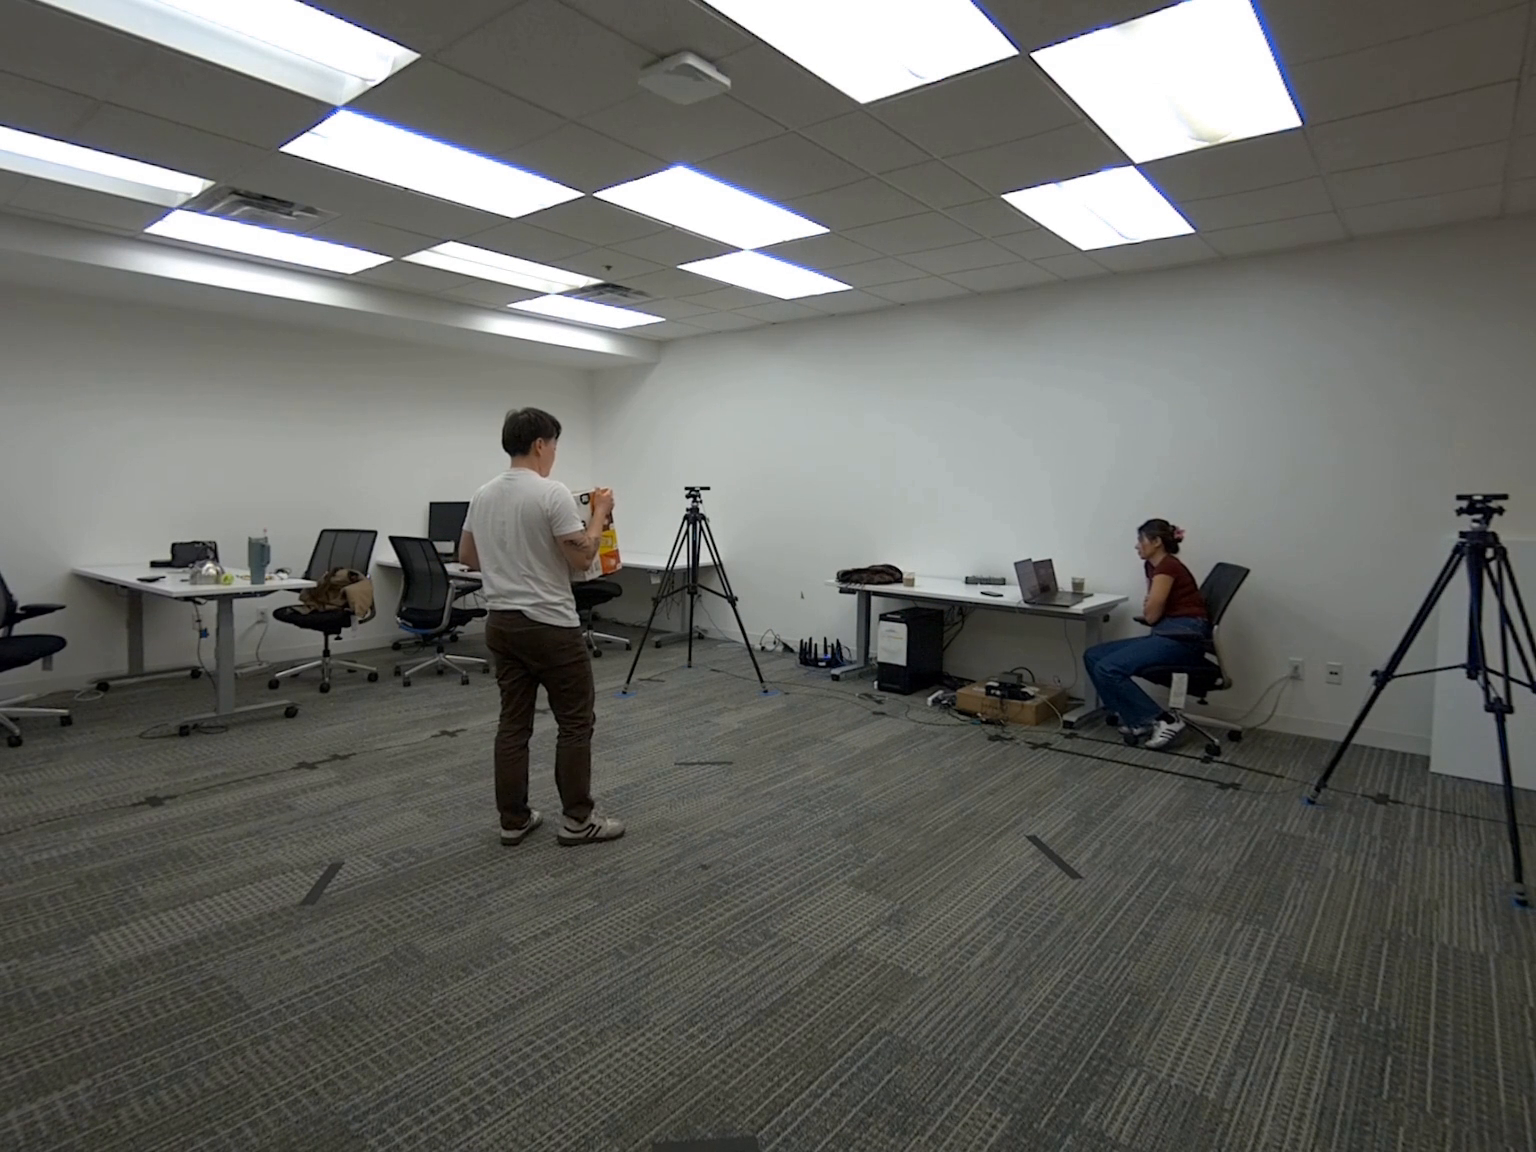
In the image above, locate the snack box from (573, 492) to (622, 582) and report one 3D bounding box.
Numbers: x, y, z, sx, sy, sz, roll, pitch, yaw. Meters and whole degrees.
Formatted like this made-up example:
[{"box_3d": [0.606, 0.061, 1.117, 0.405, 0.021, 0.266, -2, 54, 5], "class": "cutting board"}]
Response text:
[{"box_3d": [-0.849, -0.170, 3.503, 0.418, 0.337, 0.201, 0, 12, 37], "class": "snack box"}]
